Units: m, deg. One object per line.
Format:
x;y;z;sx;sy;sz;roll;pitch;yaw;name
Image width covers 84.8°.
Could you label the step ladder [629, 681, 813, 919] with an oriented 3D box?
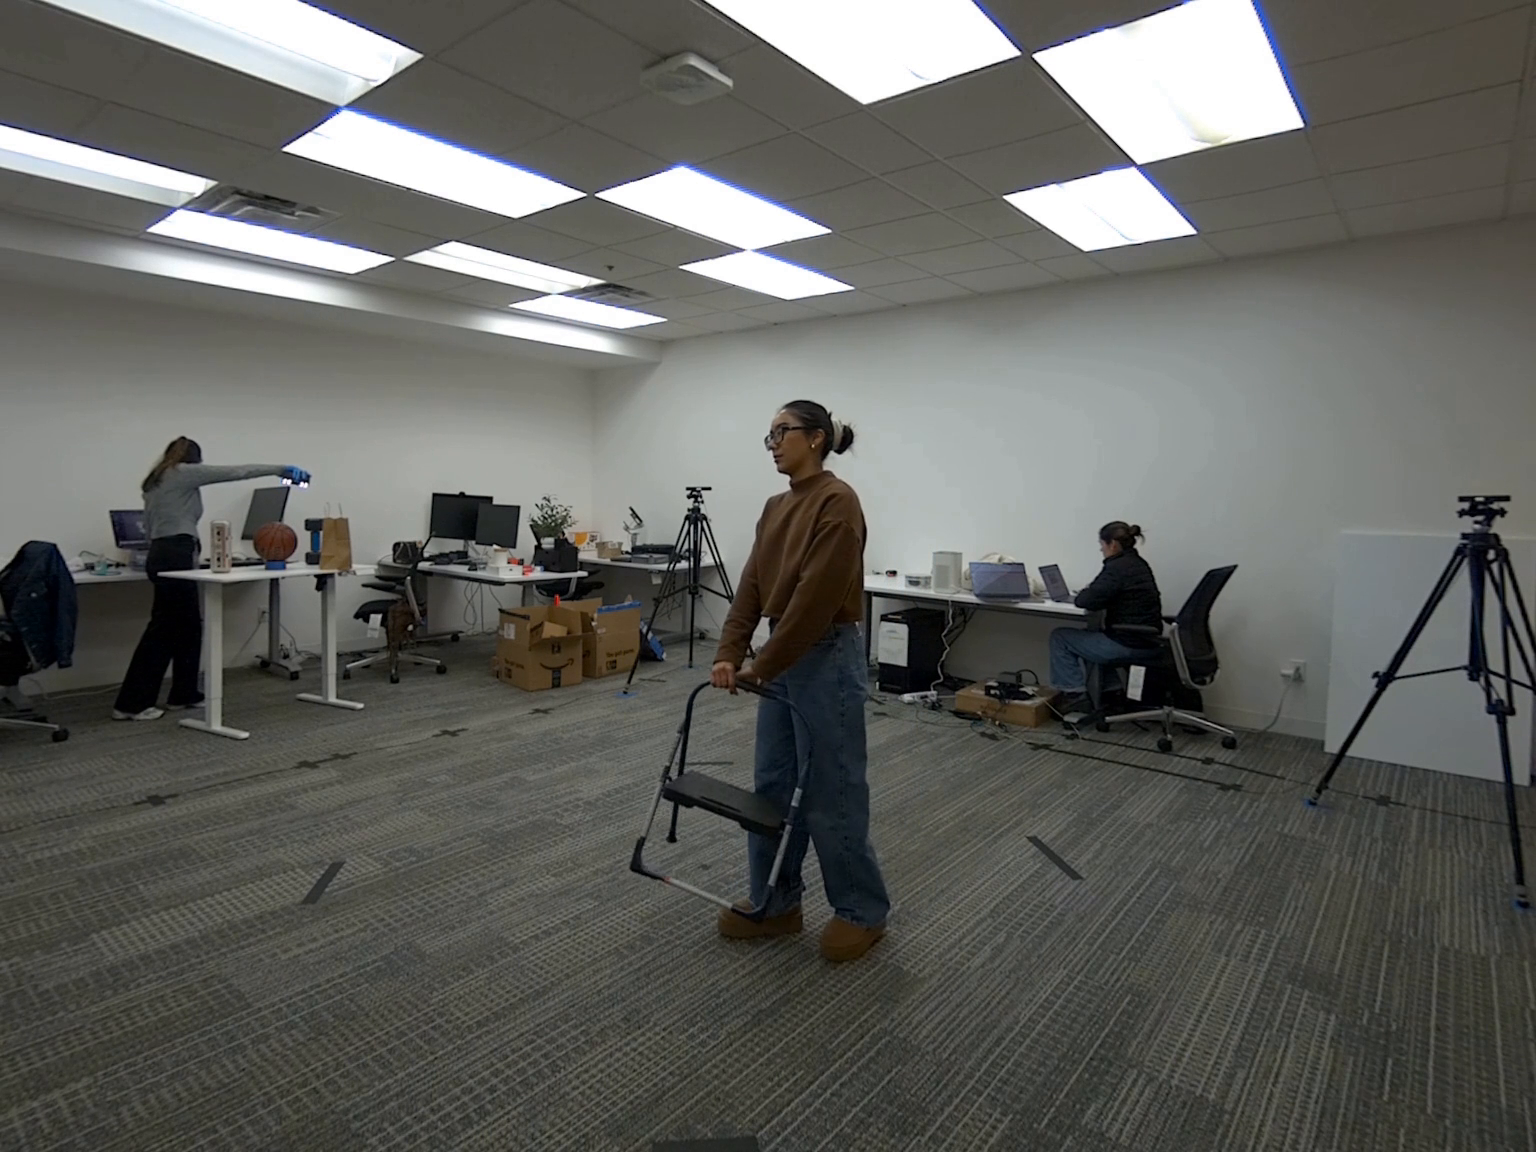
-0.106;0.613;2.532;0.440;0.605;0.342;14;1;17;step ladder
